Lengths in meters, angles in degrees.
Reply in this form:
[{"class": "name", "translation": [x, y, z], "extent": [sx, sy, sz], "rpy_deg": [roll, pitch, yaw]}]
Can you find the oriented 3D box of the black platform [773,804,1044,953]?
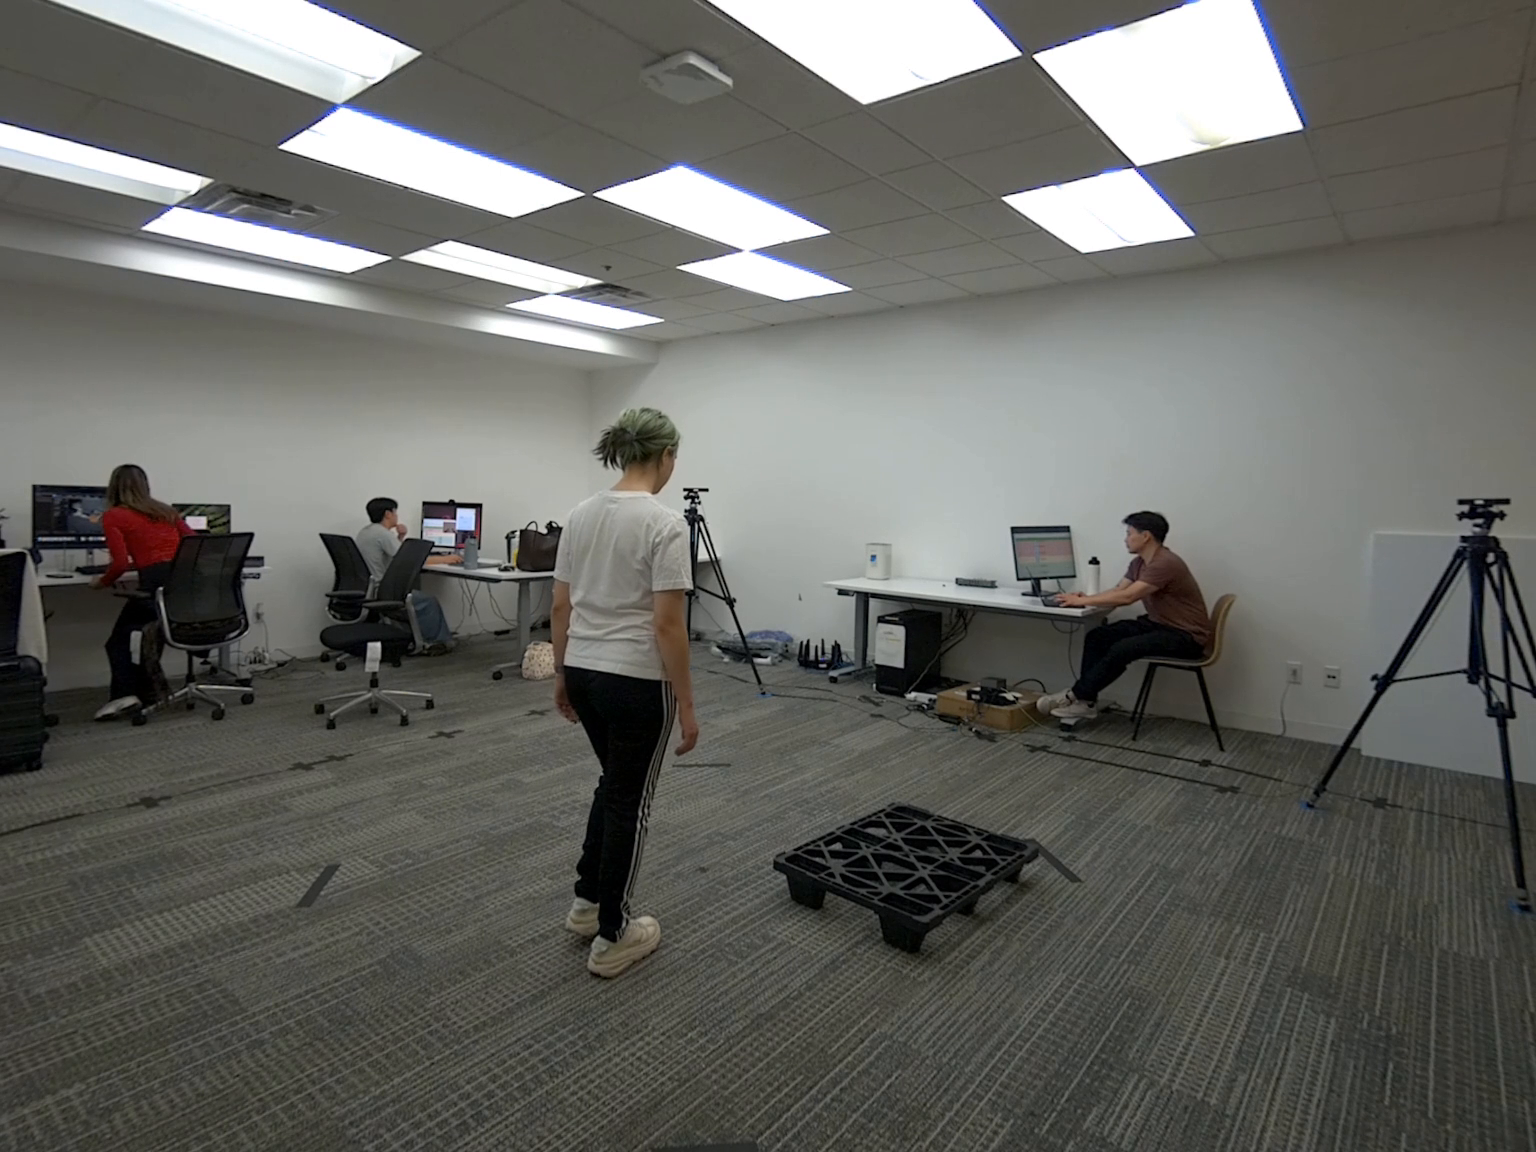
[{"class": "black platform", "translation": [0.482, 1.030, 2.988], "extent": [0.626, 0.143, 0.781], "rpy_deg": [6, 7, 42]}]
